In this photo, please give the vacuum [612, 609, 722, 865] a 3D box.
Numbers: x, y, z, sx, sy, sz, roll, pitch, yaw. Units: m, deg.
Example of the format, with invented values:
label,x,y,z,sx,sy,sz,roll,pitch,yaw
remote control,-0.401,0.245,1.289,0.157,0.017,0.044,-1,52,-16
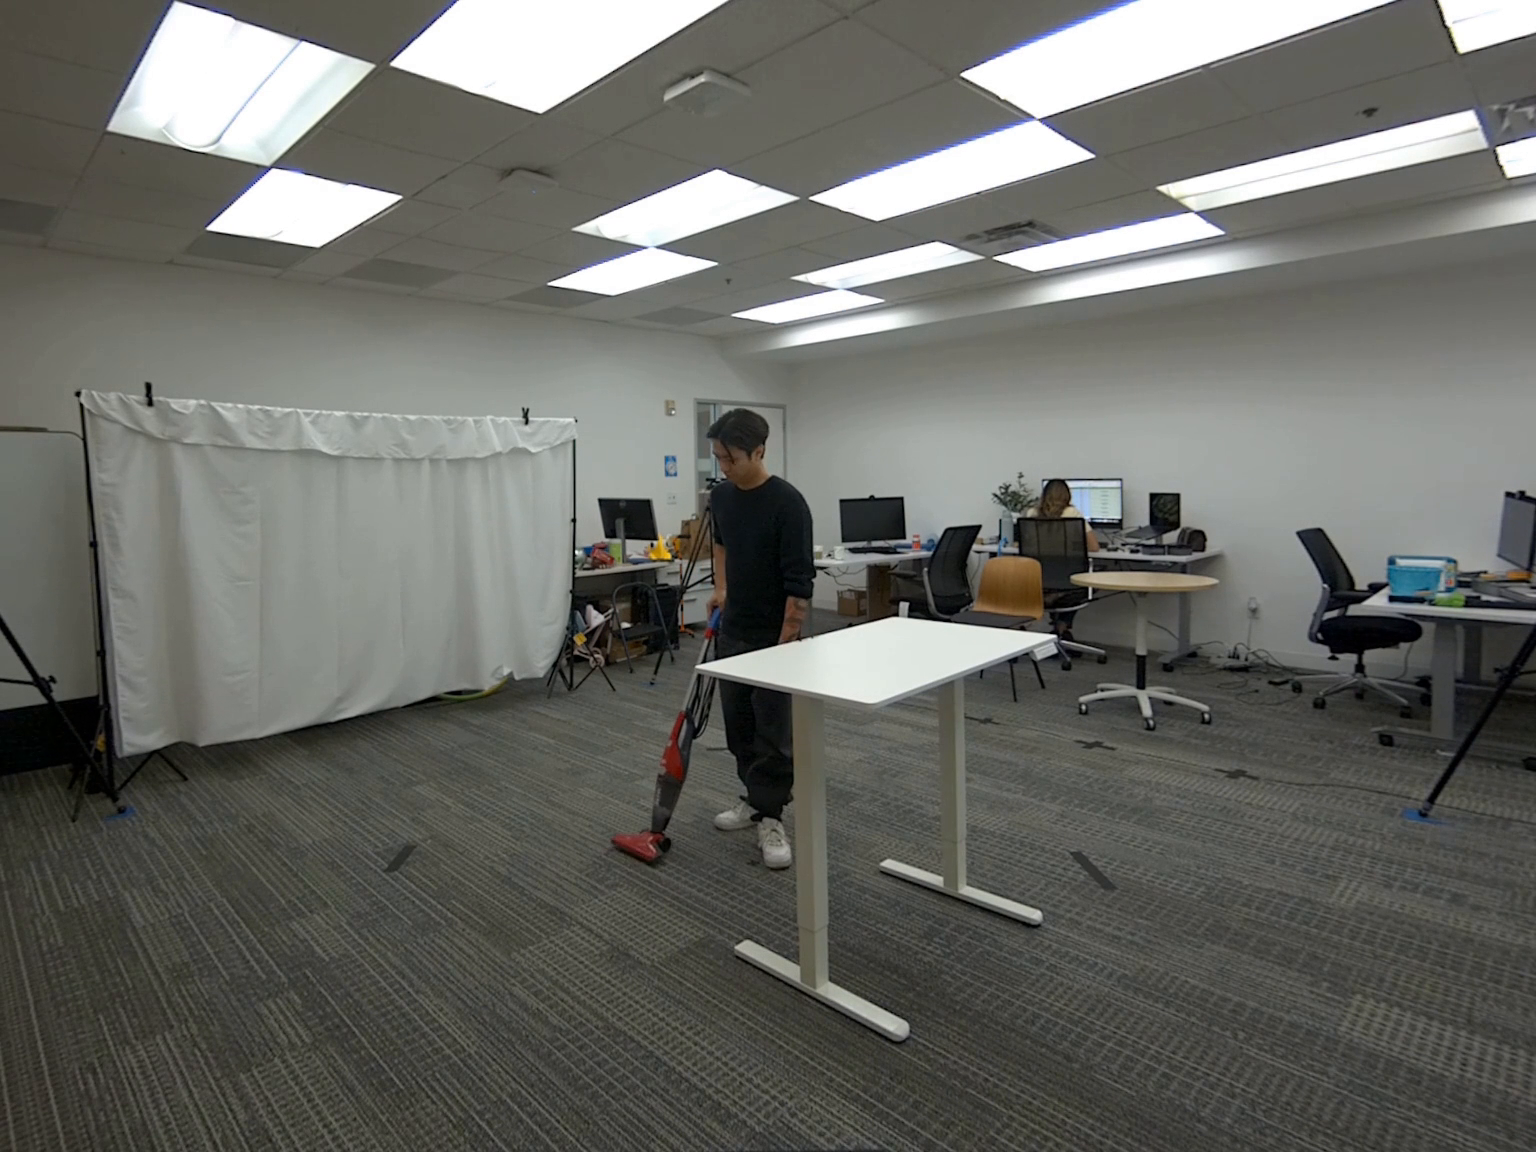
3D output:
label,x,y,z,sx,sy,sz,roll,pitch,yaw
vacuum,-0.304,0.549,3.350,0.260,1.059,0.139,-2,-26,47
